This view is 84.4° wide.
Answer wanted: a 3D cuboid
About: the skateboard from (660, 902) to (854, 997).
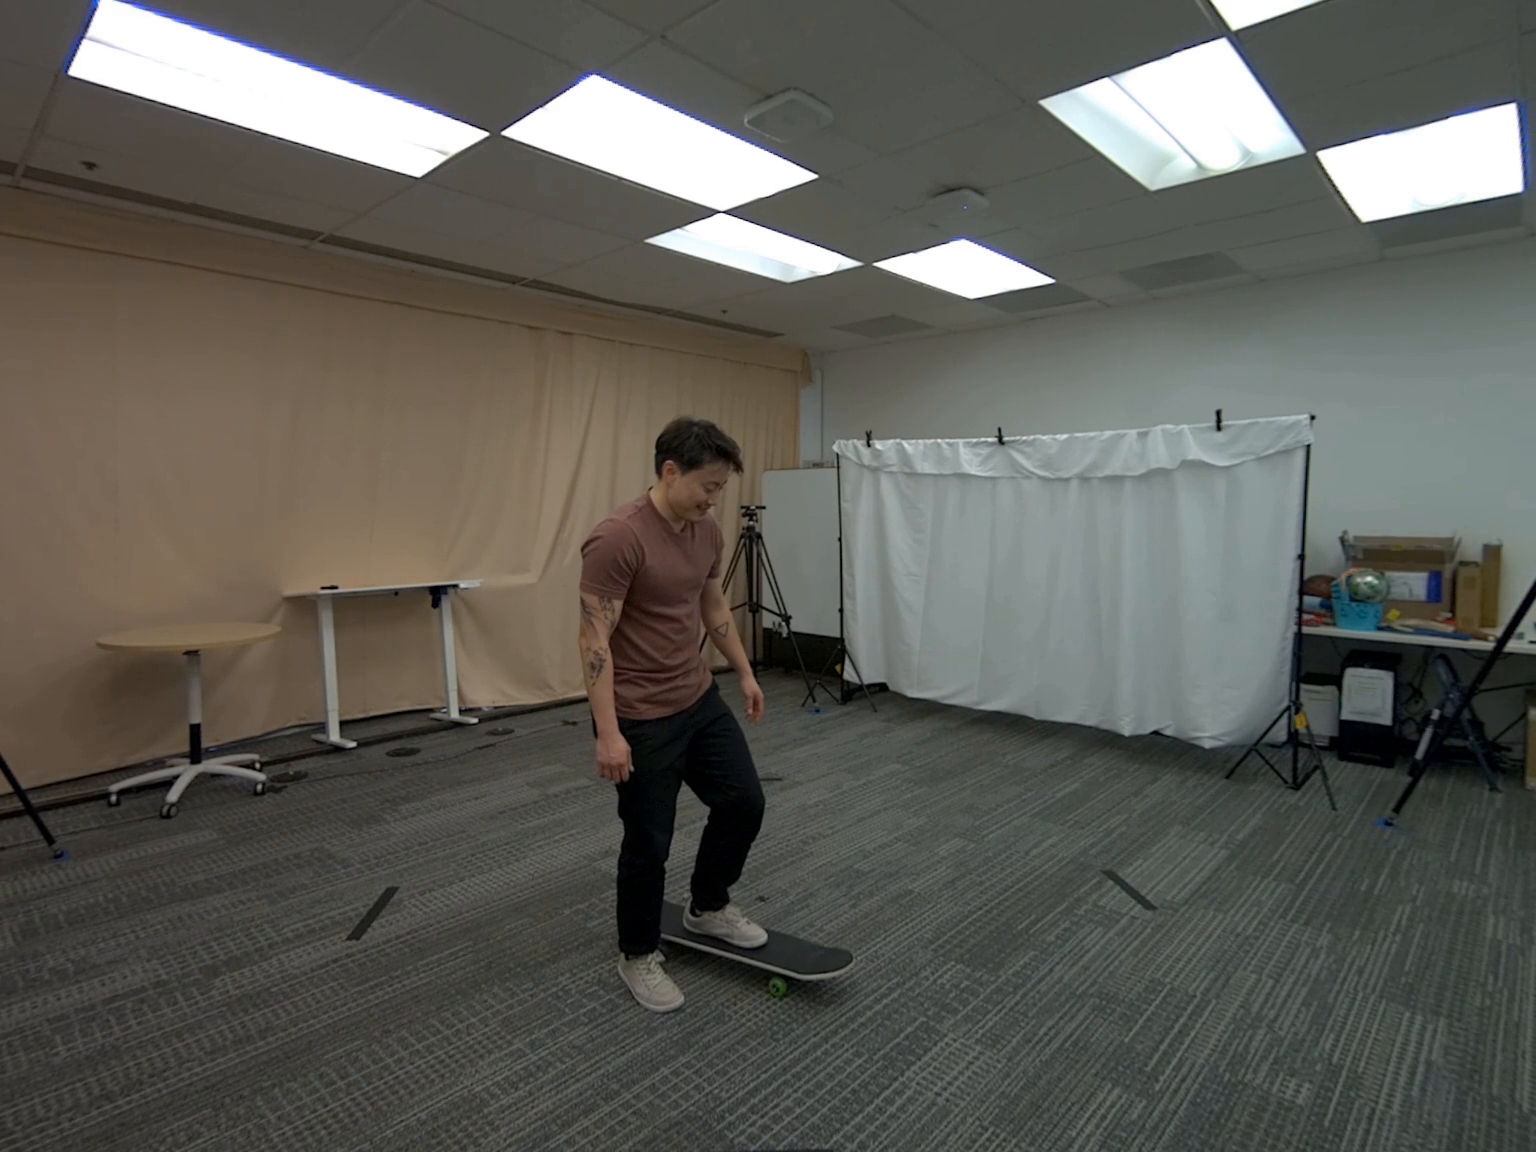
[{"bbox_3d":[-0.112,1.128,2.550,0.807,0.110,0.188,2,4,29],"label":"skateboard"}]
